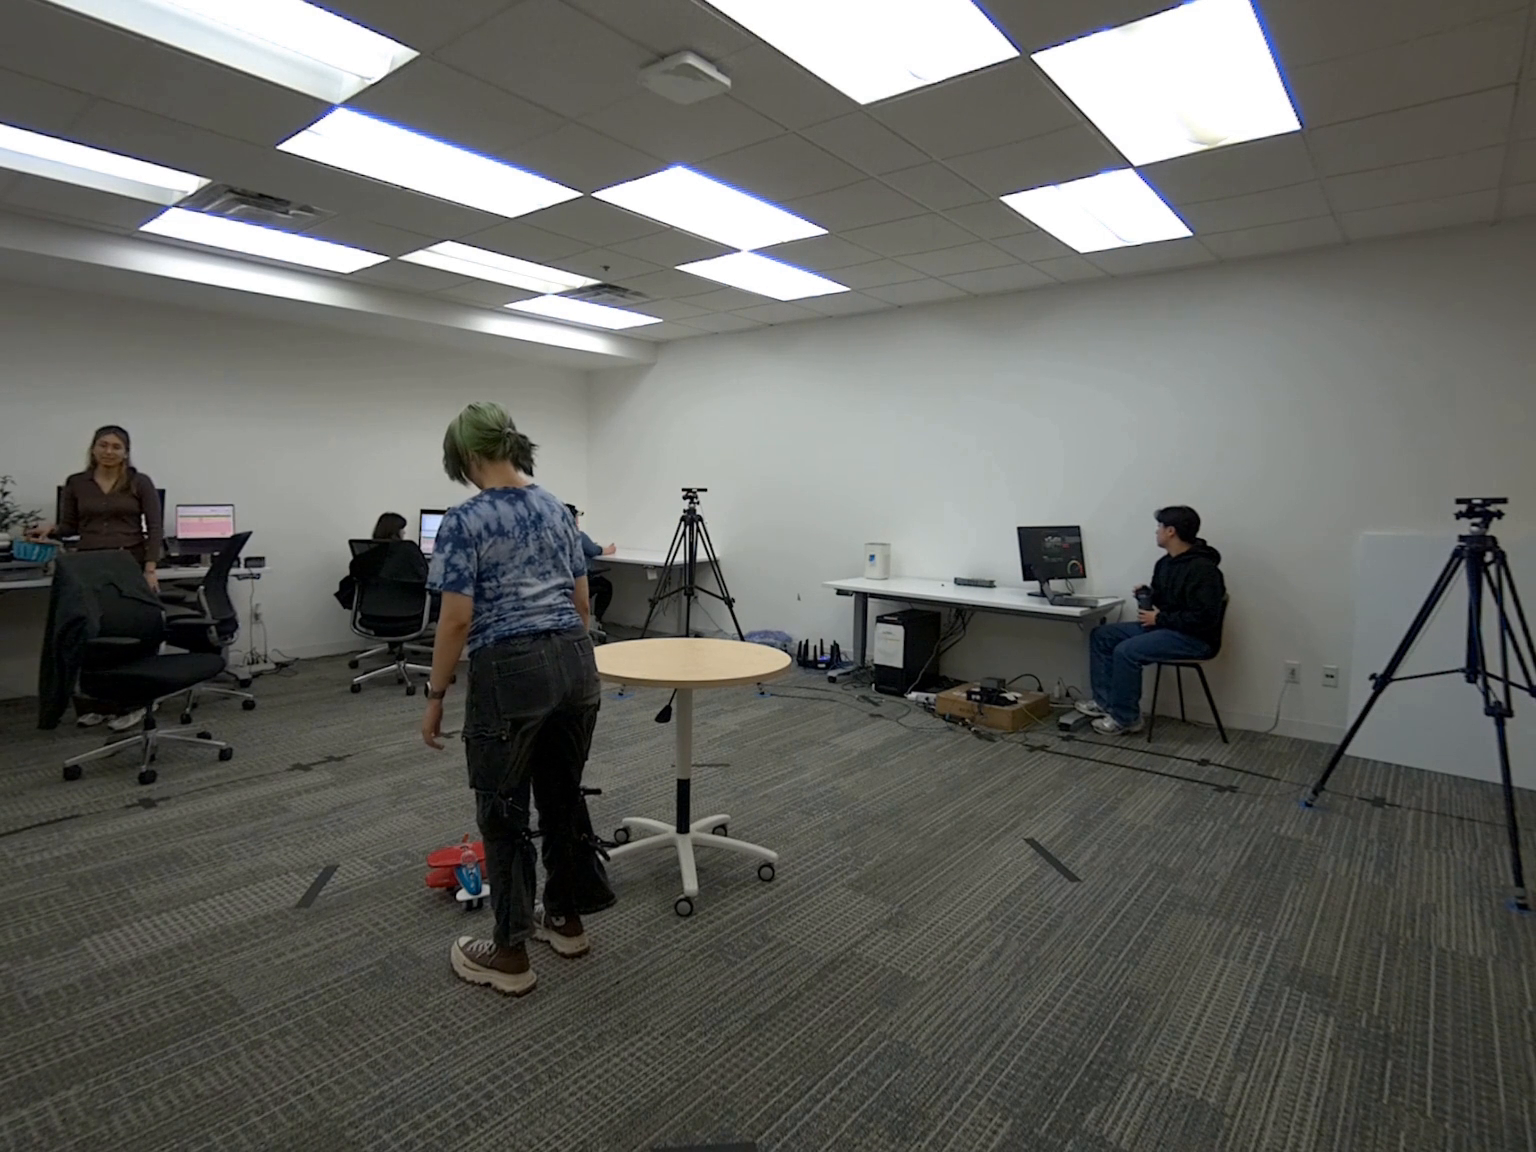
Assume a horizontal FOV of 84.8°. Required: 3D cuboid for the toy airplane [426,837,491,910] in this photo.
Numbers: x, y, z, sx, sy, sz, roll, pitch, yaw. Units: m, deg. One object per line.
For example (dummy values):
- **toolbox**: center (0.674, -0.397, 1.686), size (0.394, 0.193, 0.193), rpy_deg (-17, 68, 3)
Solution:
- **toy airplane**: center (-1.012, 1.005, 2.881), size (0.267, 0.156, 0.244), rpy_deg (3, 5, 31)
